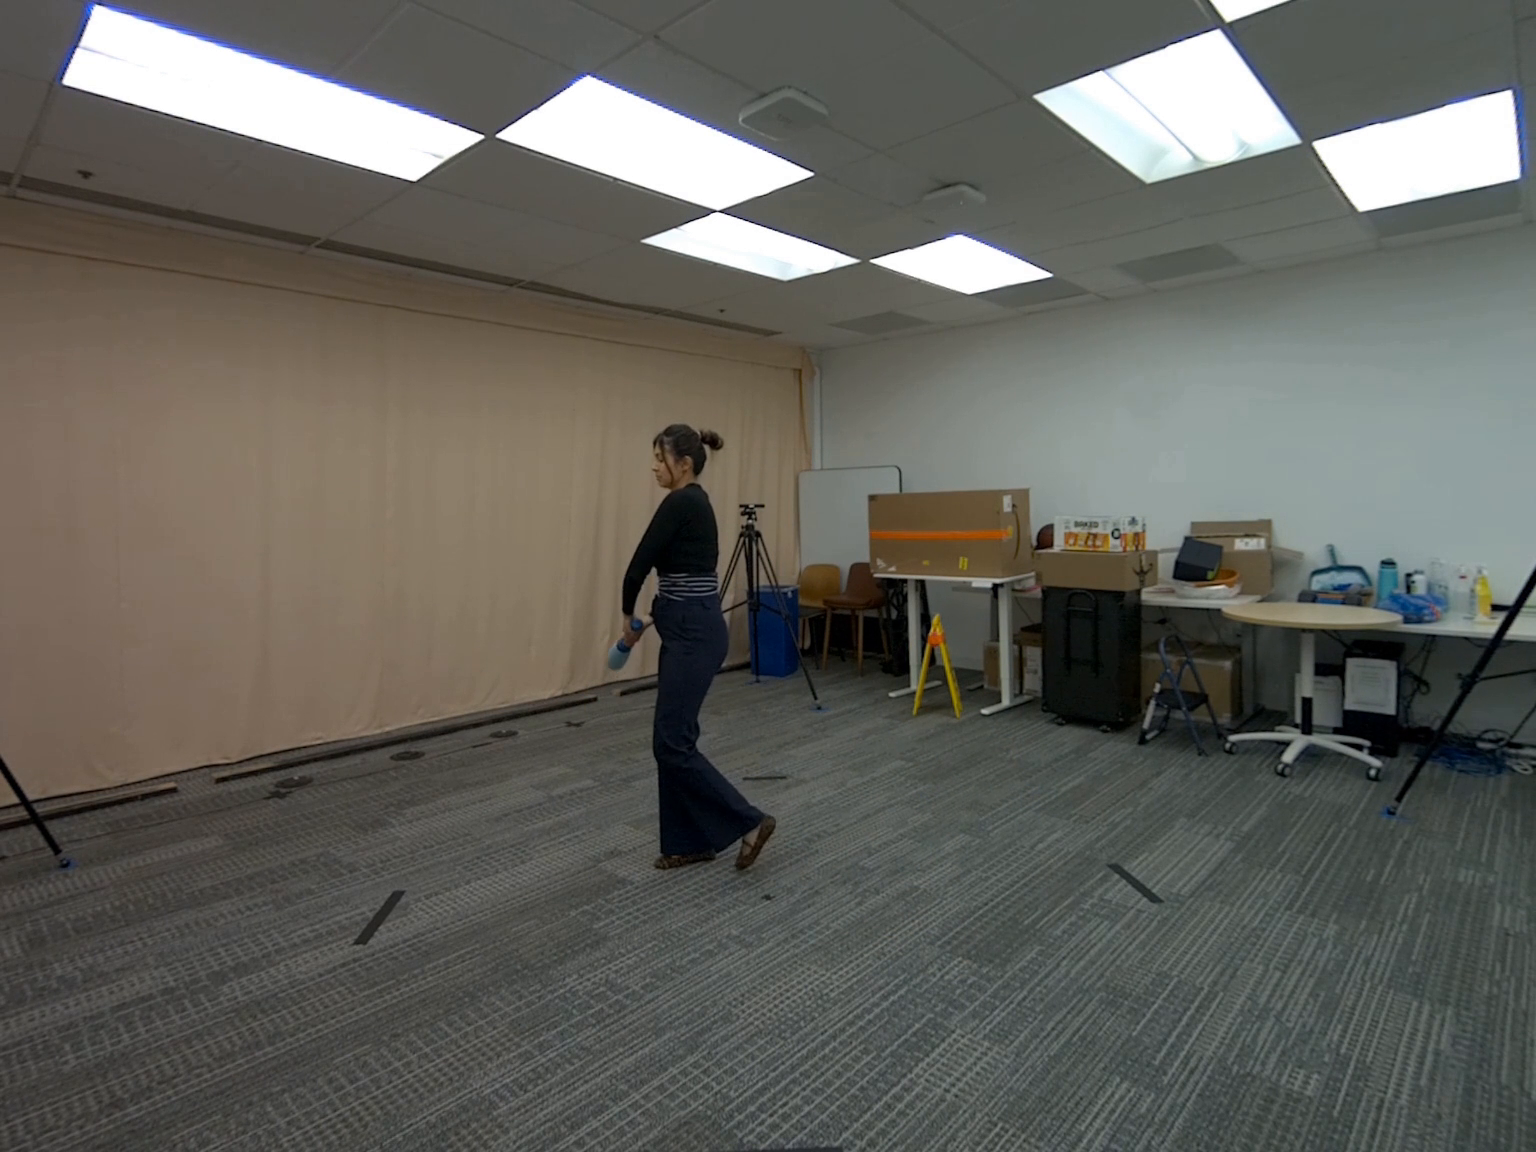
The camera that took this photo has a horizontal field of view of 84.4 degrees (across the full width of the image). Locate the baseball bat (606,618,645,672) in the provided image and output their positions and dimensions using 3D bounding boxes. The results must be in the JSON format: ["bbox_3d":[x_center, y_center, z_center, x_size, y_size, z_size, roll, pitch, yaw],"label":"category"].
[{"bbox_3d":[-0.591,0.274,3.541,0.087,0.090,0.545,-2,-20,-20],"label":"baseball bat"}]
